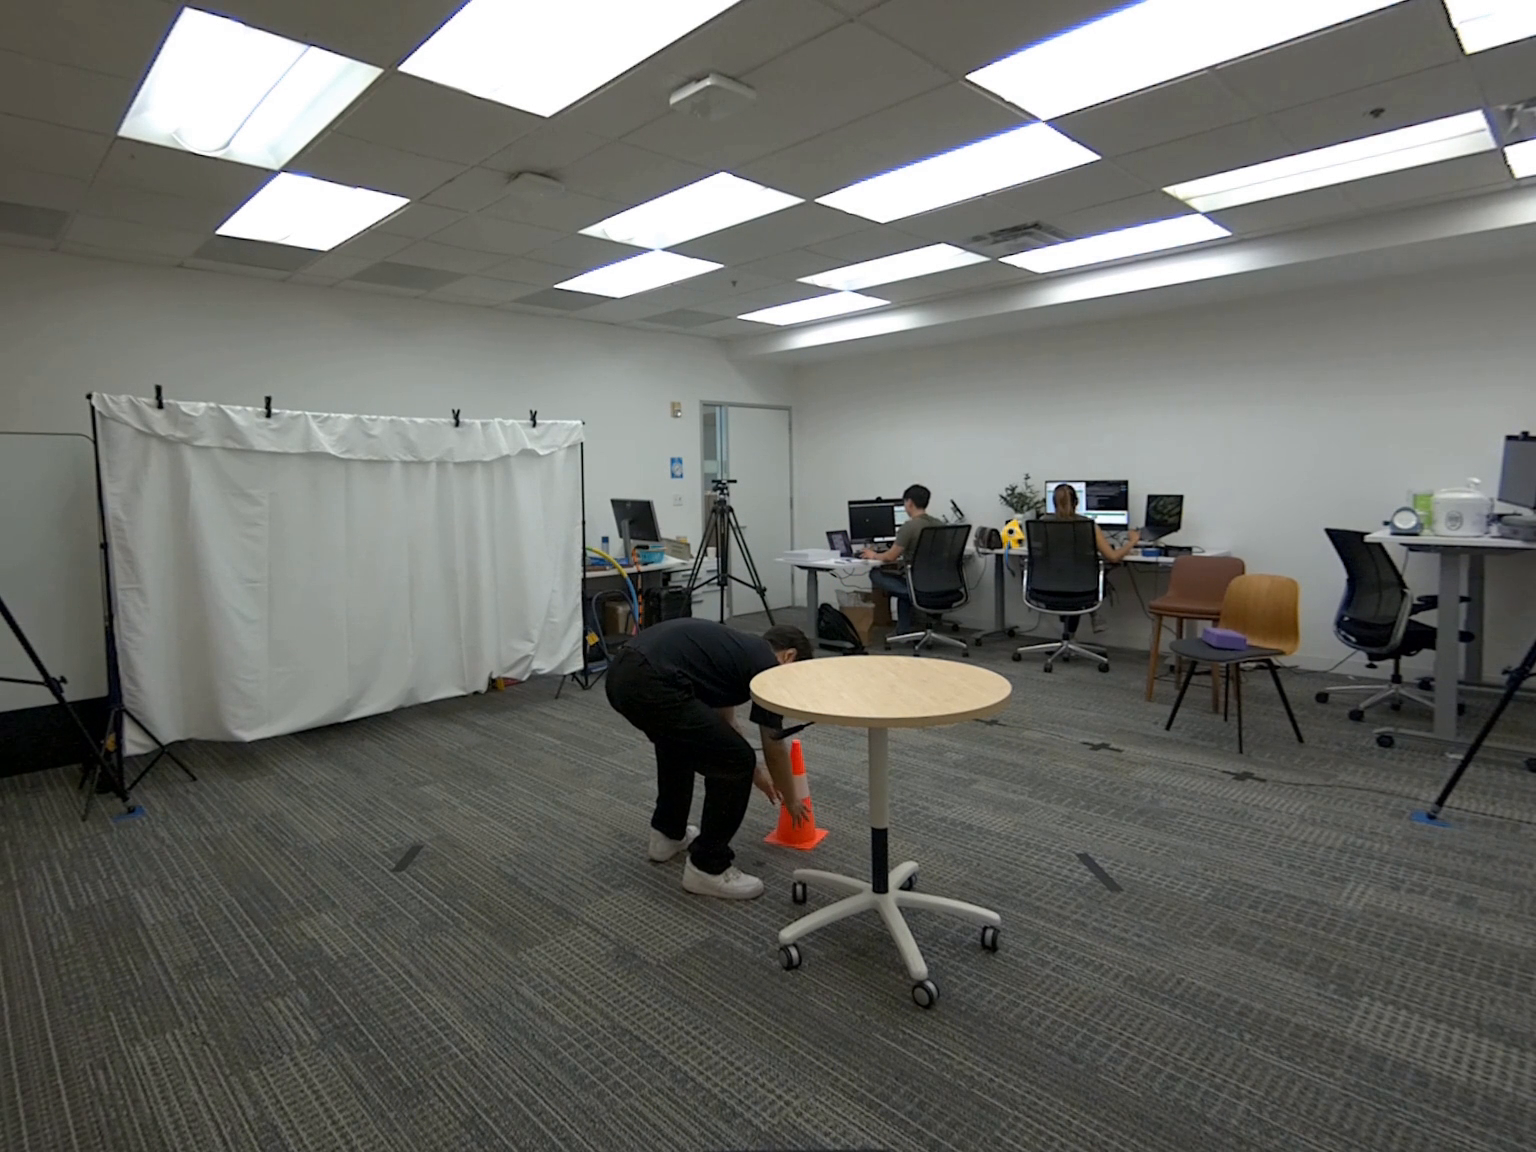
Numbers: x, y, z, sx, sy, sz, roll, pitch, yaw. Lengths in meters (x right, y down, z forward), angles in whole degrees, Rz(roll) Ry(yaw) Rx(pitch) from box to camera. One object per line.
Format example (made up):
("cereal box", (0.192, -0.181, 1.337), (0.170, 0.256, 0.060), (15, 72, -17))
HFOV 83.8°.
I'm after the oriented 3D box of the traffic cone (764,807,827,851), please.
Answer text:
("traffic cone", (0.104, 0.841, 3.331), (0.208, 0.382, 0.201), (0, 5, 27))
